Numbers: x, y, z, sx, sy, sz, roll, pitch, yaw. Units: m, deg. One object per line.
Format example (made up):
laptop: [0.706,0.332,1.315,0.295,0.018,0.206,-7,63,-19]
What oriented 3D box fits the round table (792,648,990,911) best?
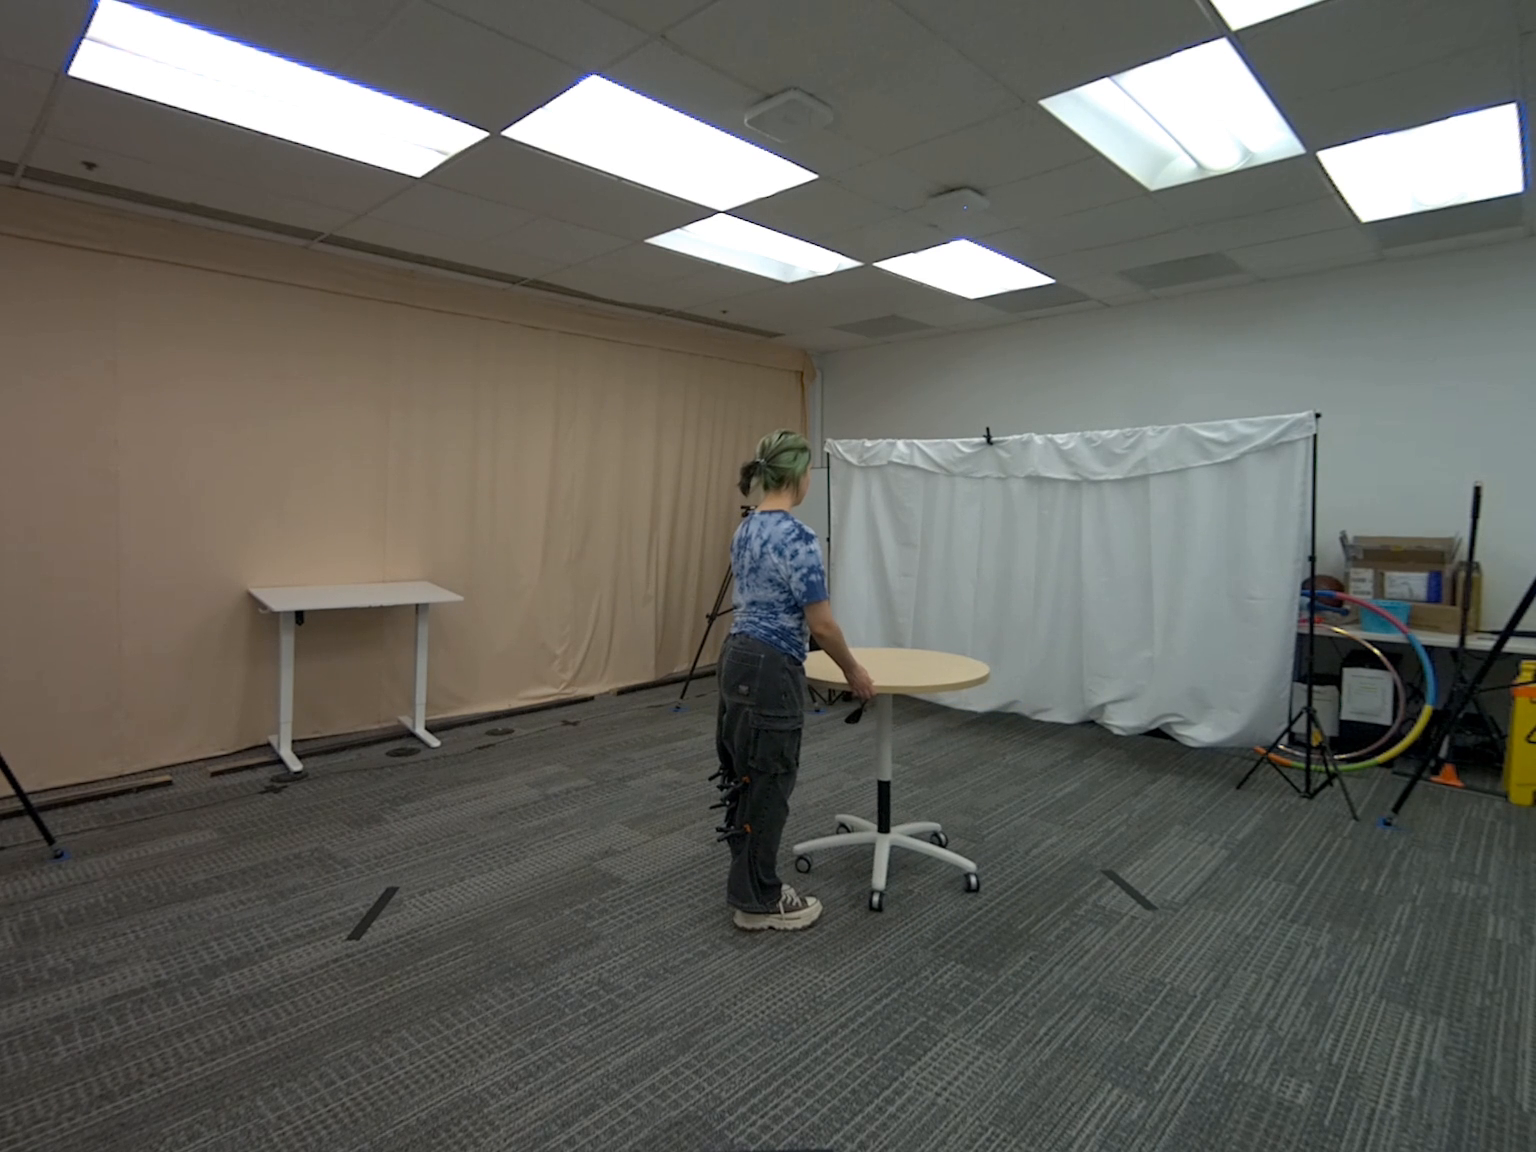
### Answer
round table: [0.447,0.733,3.213,0.763,0.792,0.766,0,3,-2]
